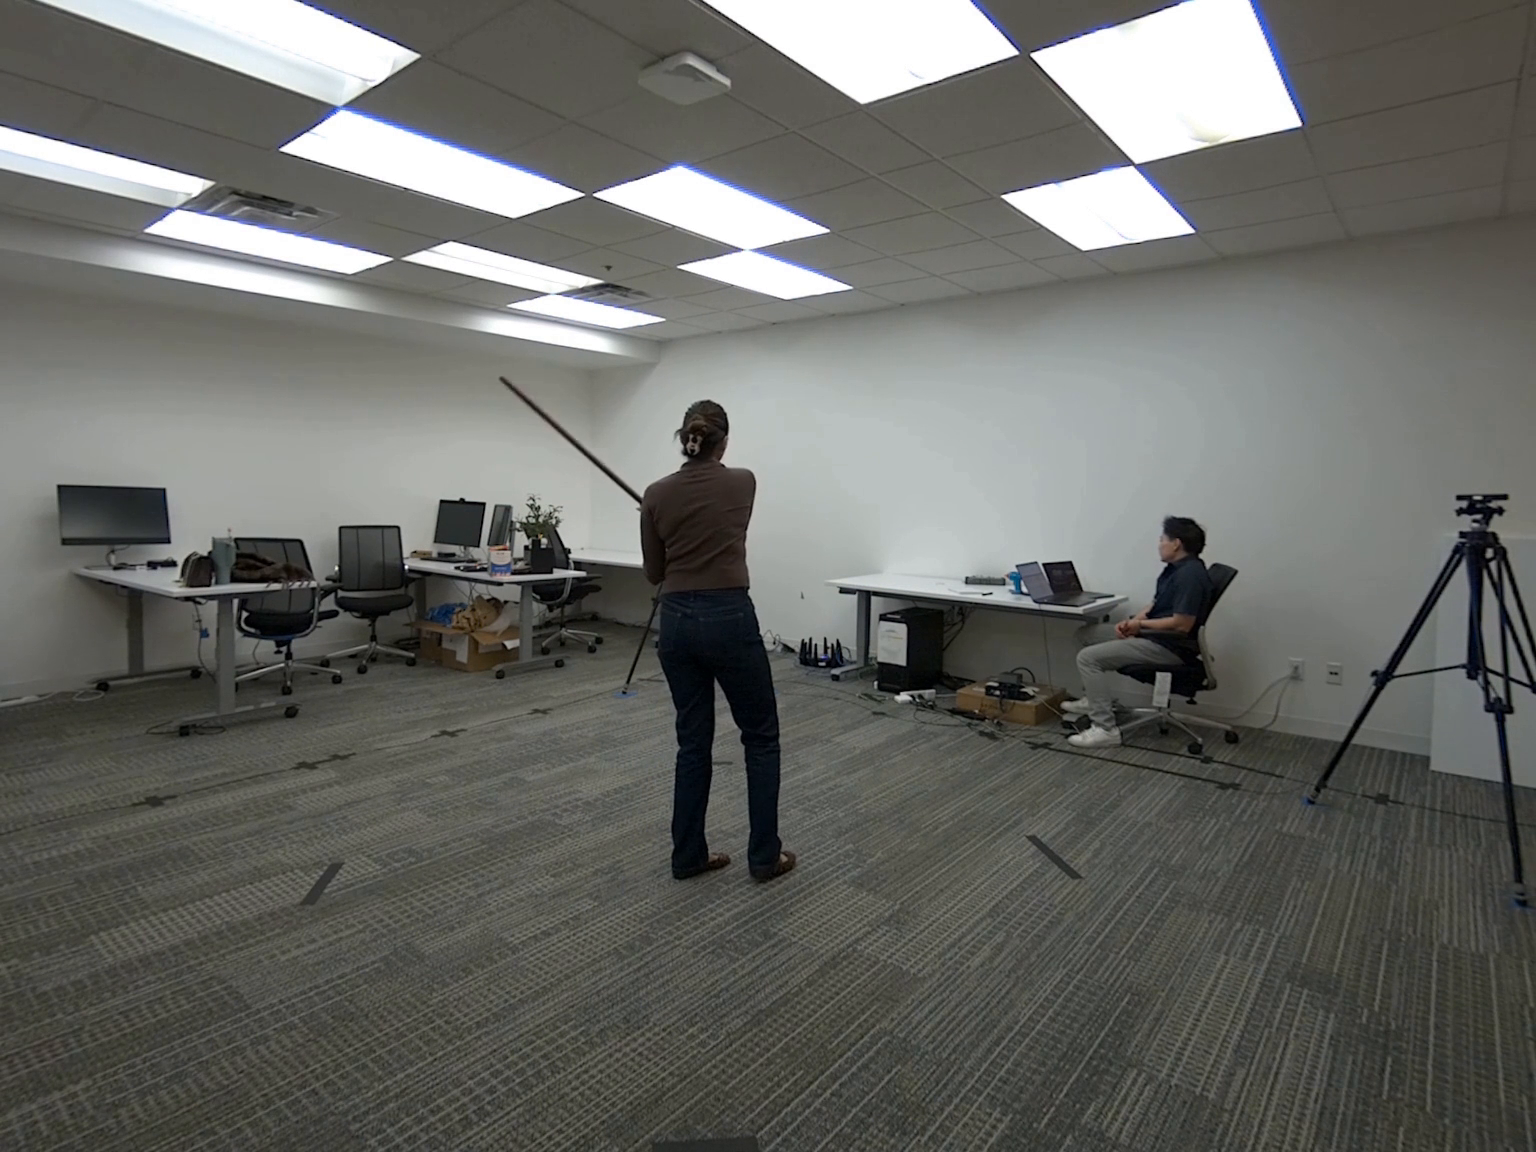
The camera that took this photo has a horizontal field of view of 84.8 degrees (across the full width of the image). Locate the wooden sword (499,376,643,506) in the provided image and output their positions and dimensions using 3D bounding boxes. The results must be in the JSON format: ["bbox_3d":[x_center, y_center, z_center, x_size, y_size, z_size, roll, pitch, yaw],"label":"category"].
[{"bbox_3d":[-0.627,-0.387,3.121,0.982,0.051,0.025,43,9,-41],"label":"wooden sword"}]
